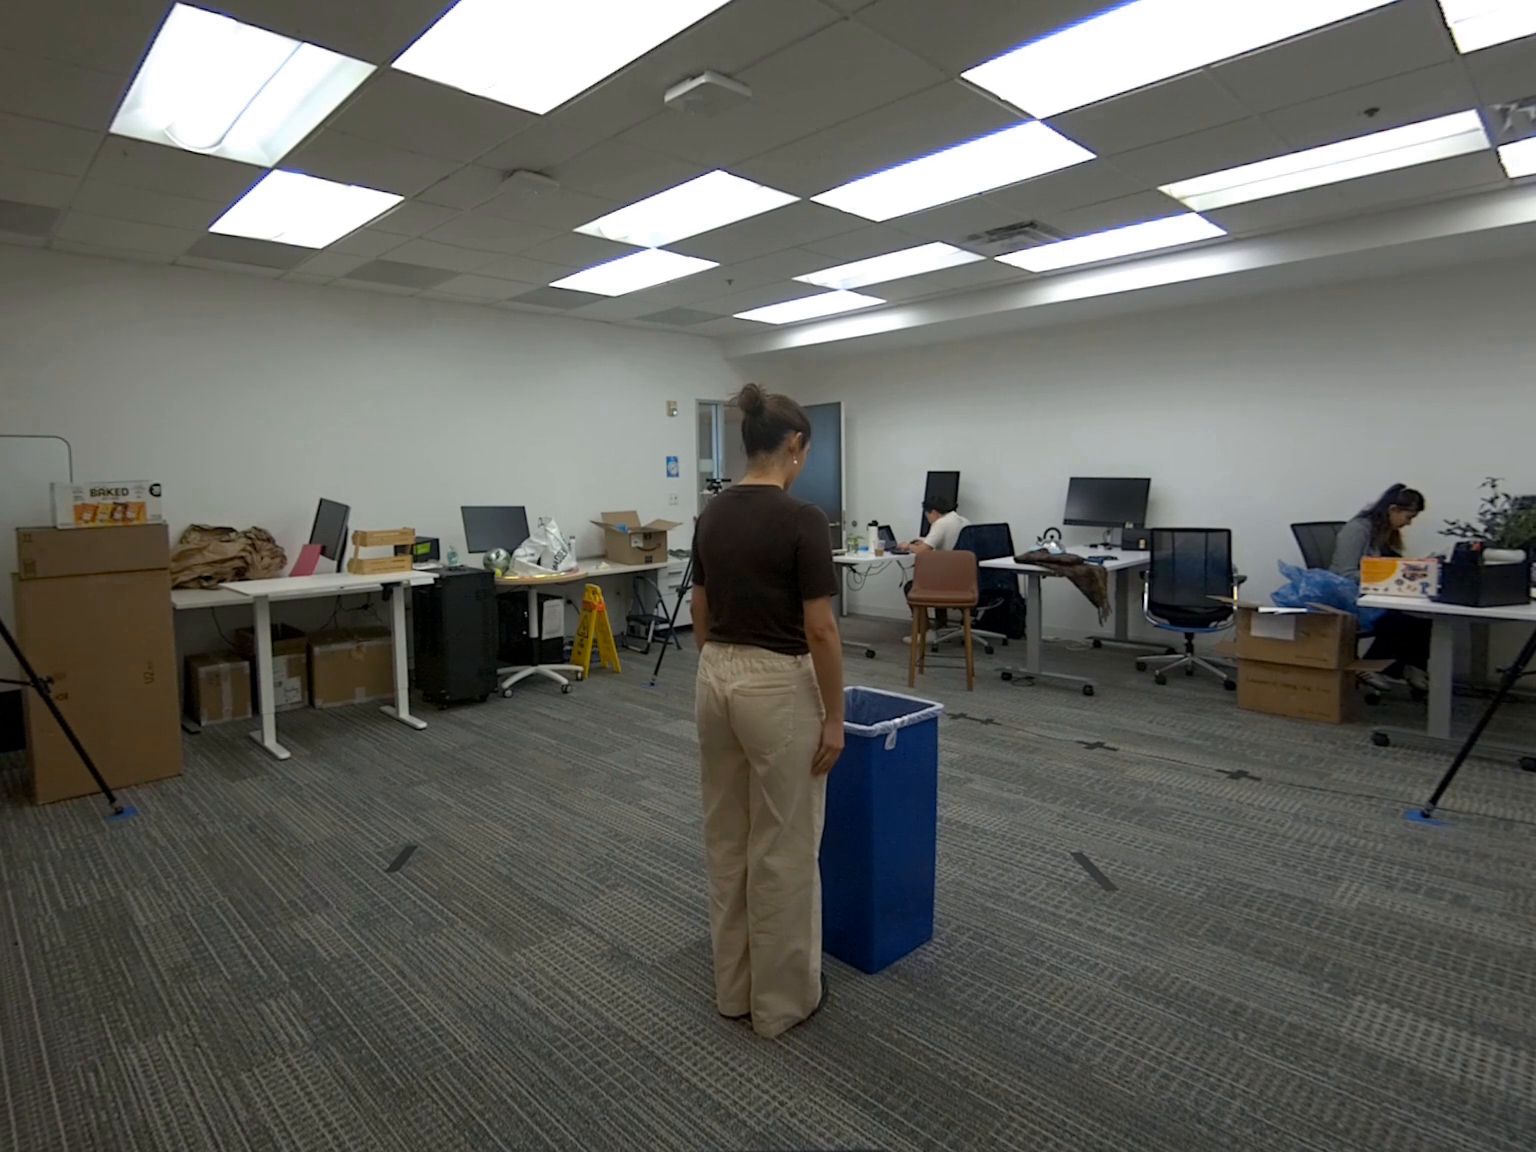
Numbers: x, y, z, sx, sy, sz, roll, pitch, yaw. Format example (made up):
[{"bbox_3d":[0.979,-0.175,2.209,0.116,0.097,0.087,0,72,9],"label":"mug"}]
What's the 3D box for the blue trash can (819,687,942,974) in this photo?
[{"bbox_3d":[0.295,0.741,2.585,0.364,0.711,0.389,-5,6,-42],"label":"blue trash can"}]
